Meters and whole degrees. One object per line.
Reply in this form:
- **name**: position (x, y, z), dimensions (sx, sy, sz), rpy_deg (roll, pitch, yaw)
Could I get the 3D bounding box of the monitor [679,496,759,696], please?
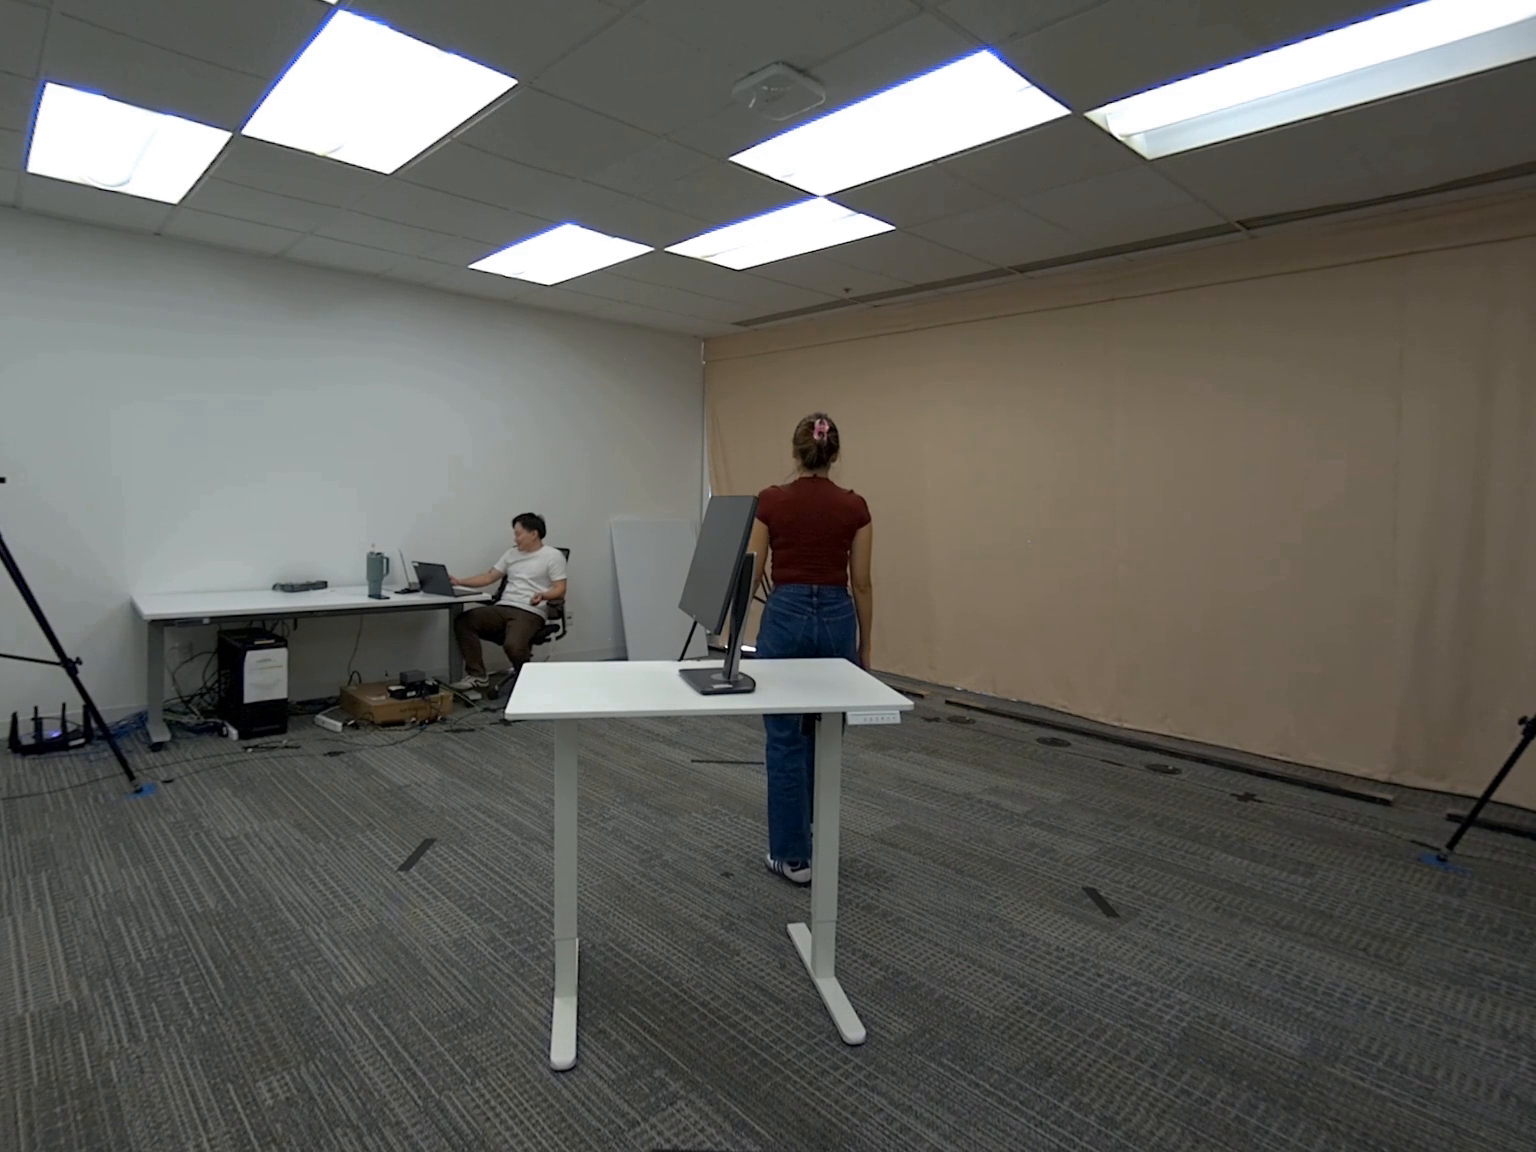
- **monitor**: position (-0.119, 0.043, 2.296), dimensions (0.184, 0.522, 0.547), rpy_deg (2, 3, -17)
